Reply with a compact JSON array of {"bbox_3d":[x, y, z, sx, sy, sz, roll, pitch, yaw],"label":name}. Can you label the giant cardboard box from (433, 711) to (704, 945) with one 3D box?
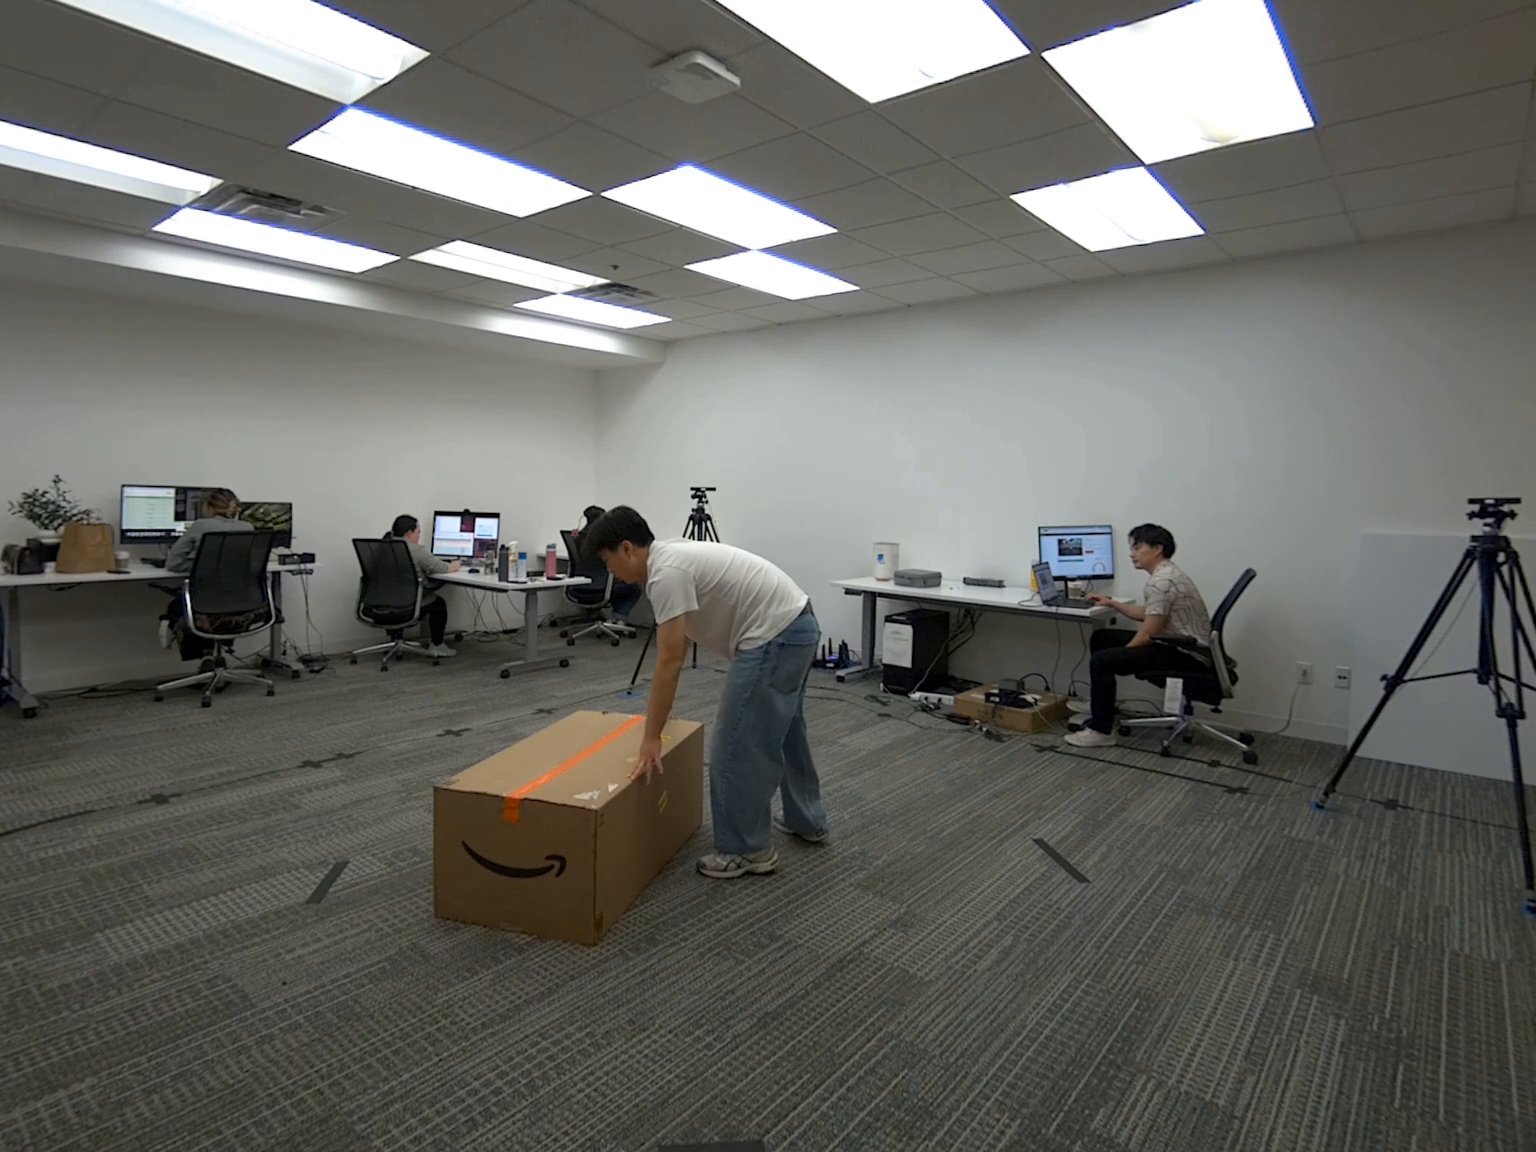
[{"bbox_3d":[-0.681,0.842,3.116,0.588,0.424,1.012,3,5,15],"label":"giant cardboard box"}]
